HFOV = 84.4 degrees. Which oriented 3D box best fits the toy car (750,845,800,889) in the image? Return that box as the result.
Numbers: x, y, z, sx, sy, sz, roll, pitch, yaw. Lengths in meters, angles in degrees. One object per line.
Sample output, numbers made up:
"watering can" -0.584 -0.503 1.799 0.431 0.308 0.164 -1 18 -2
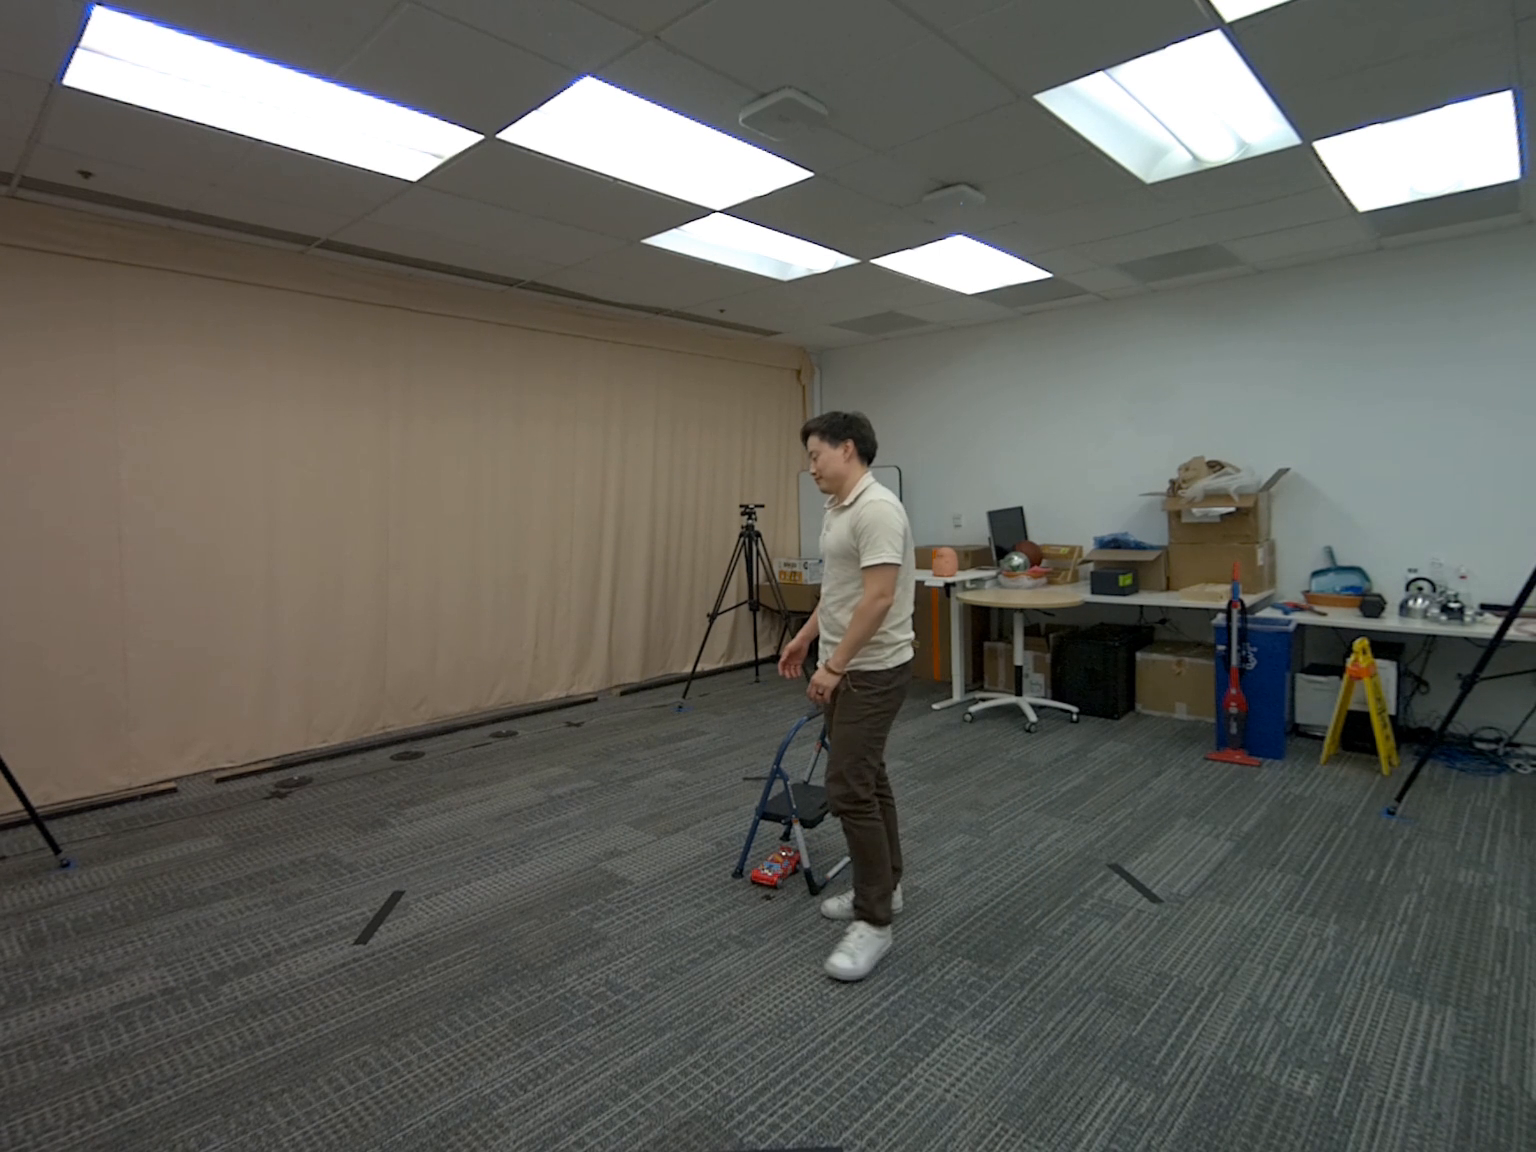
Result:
"toy car" 0.039 1.094 3.158 0.134 0.082 0.250 1 16 30
